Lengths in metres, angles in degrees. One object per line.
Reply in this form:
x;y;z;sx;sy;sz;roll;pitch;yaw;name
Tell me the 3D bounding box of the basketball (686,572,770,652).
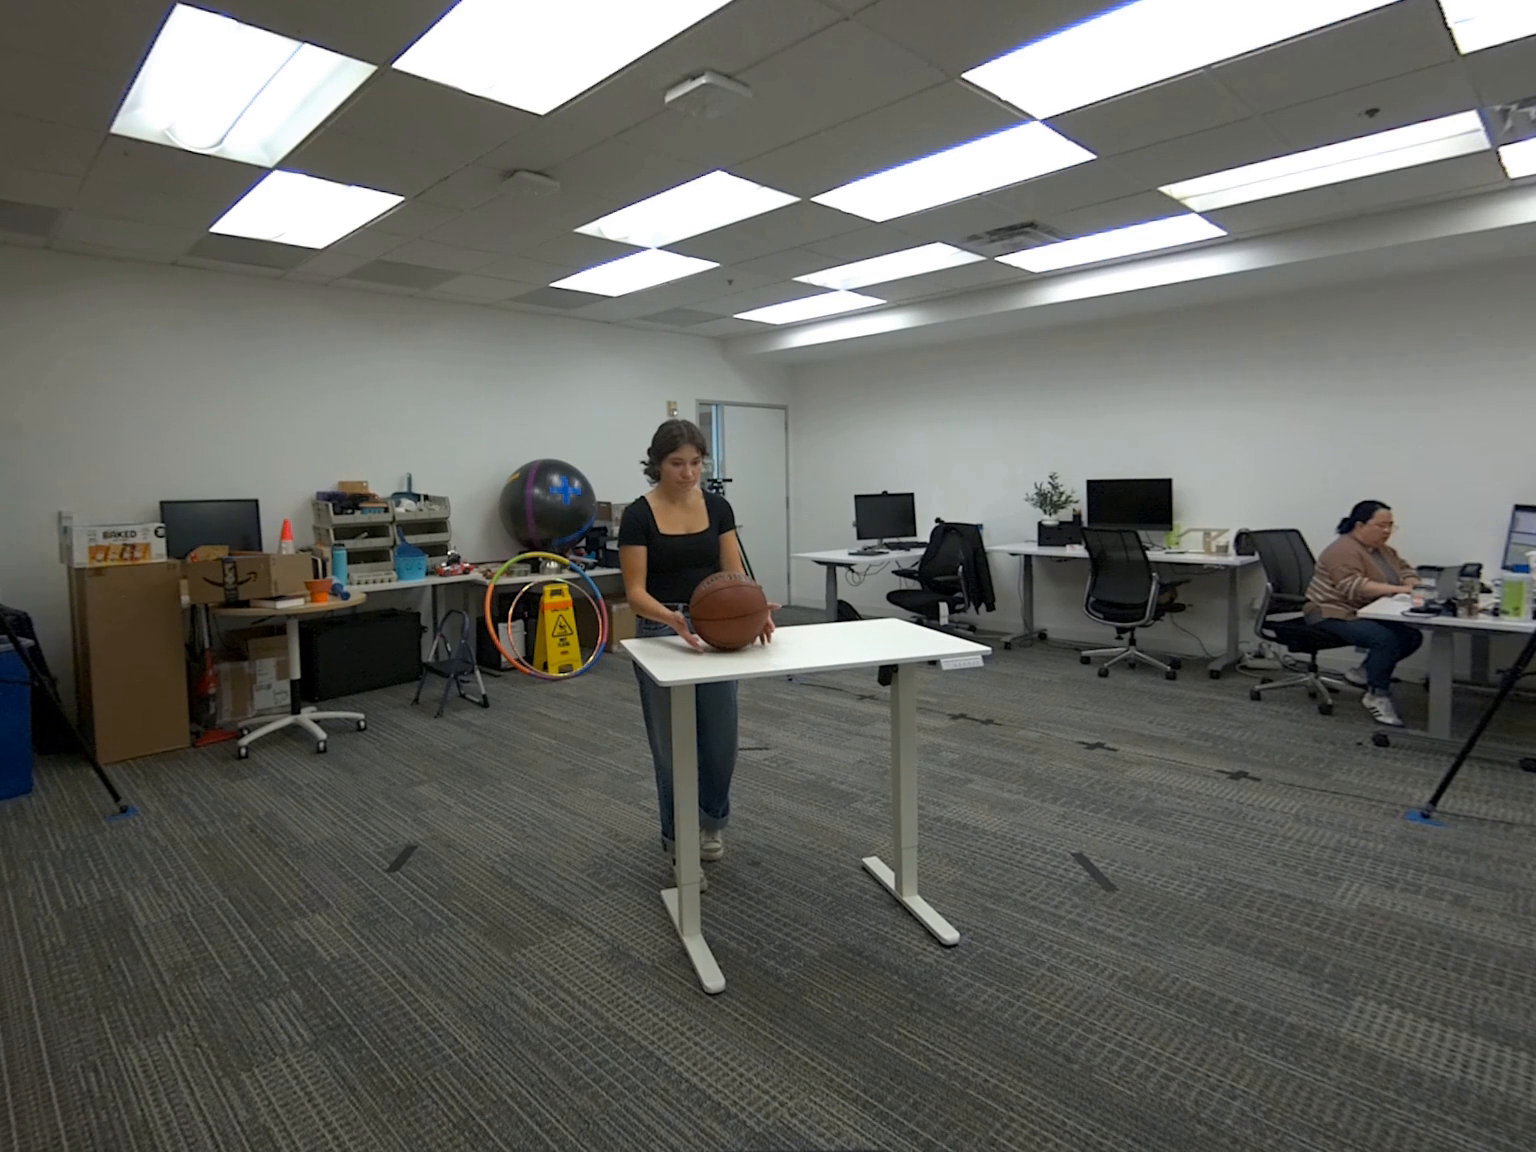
-0.126;0.105;2.600;0.236;0.235;0.237;-1;5;-2;basketball
